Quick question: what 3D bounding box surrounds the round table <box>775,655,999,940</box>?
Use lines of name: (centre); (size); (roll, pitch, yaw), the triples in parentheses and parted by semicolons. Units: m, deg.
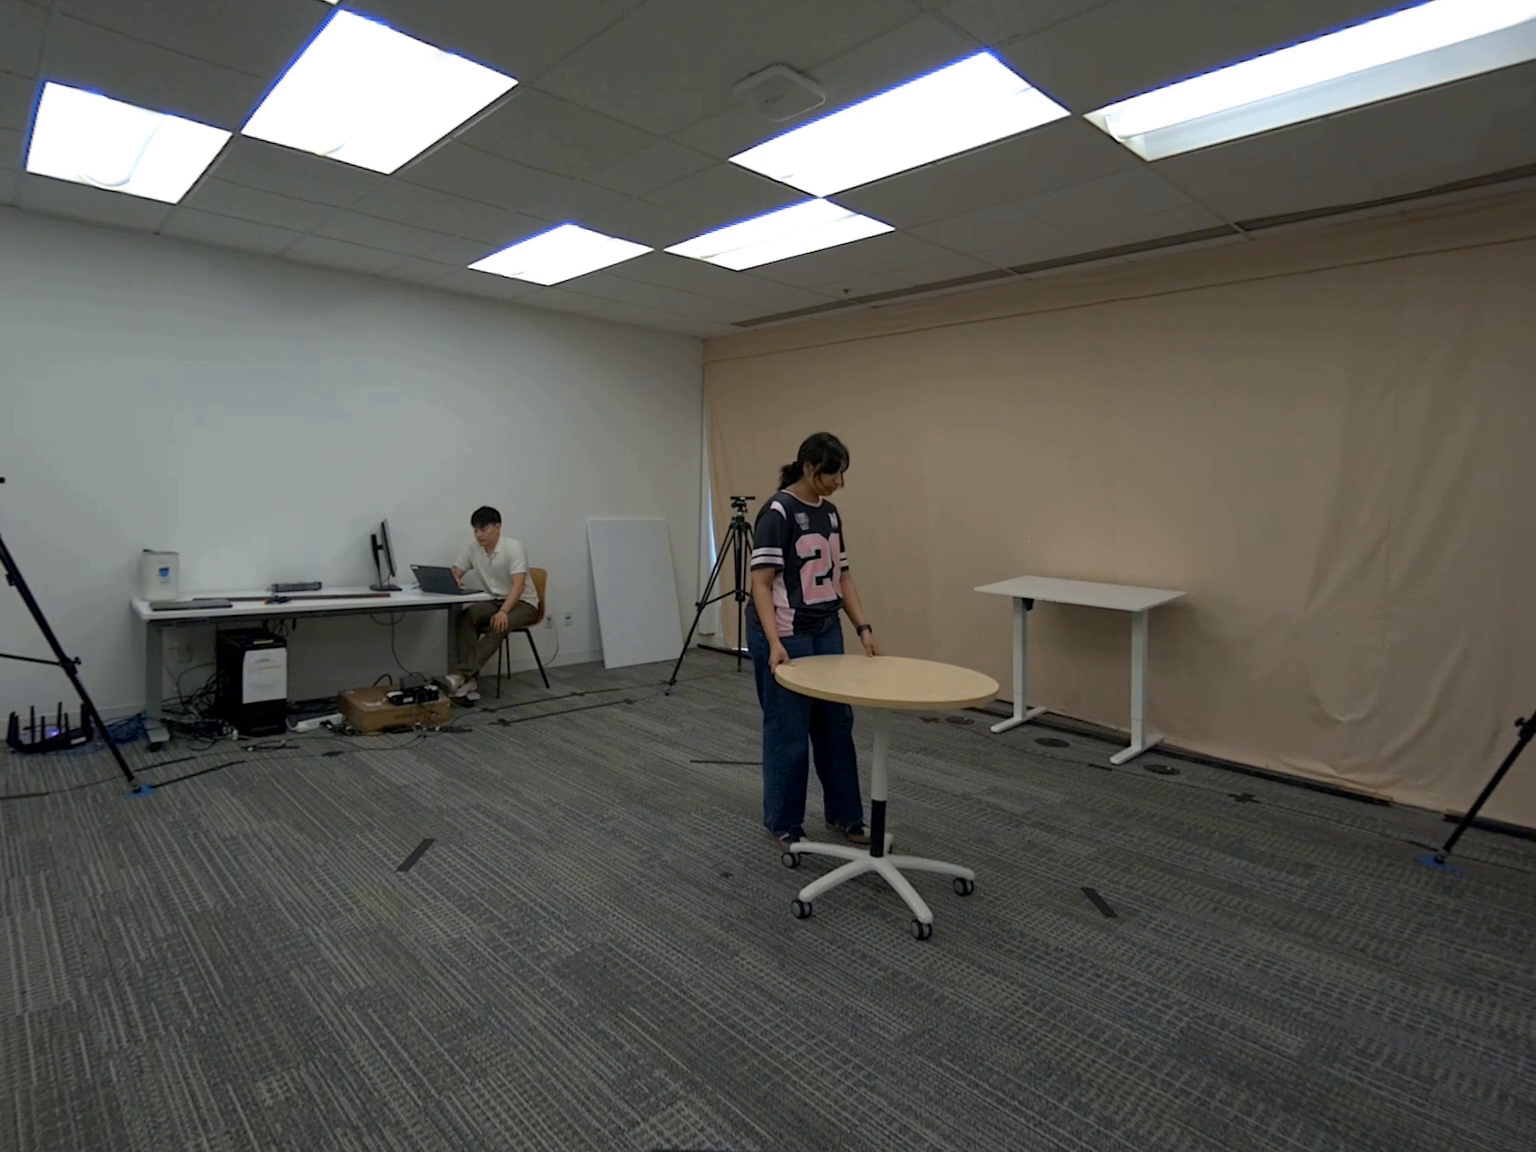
round table: (0.382, 0.740, 2.961); (0.763, 0.792, 0.766); (2, 4, -2)
